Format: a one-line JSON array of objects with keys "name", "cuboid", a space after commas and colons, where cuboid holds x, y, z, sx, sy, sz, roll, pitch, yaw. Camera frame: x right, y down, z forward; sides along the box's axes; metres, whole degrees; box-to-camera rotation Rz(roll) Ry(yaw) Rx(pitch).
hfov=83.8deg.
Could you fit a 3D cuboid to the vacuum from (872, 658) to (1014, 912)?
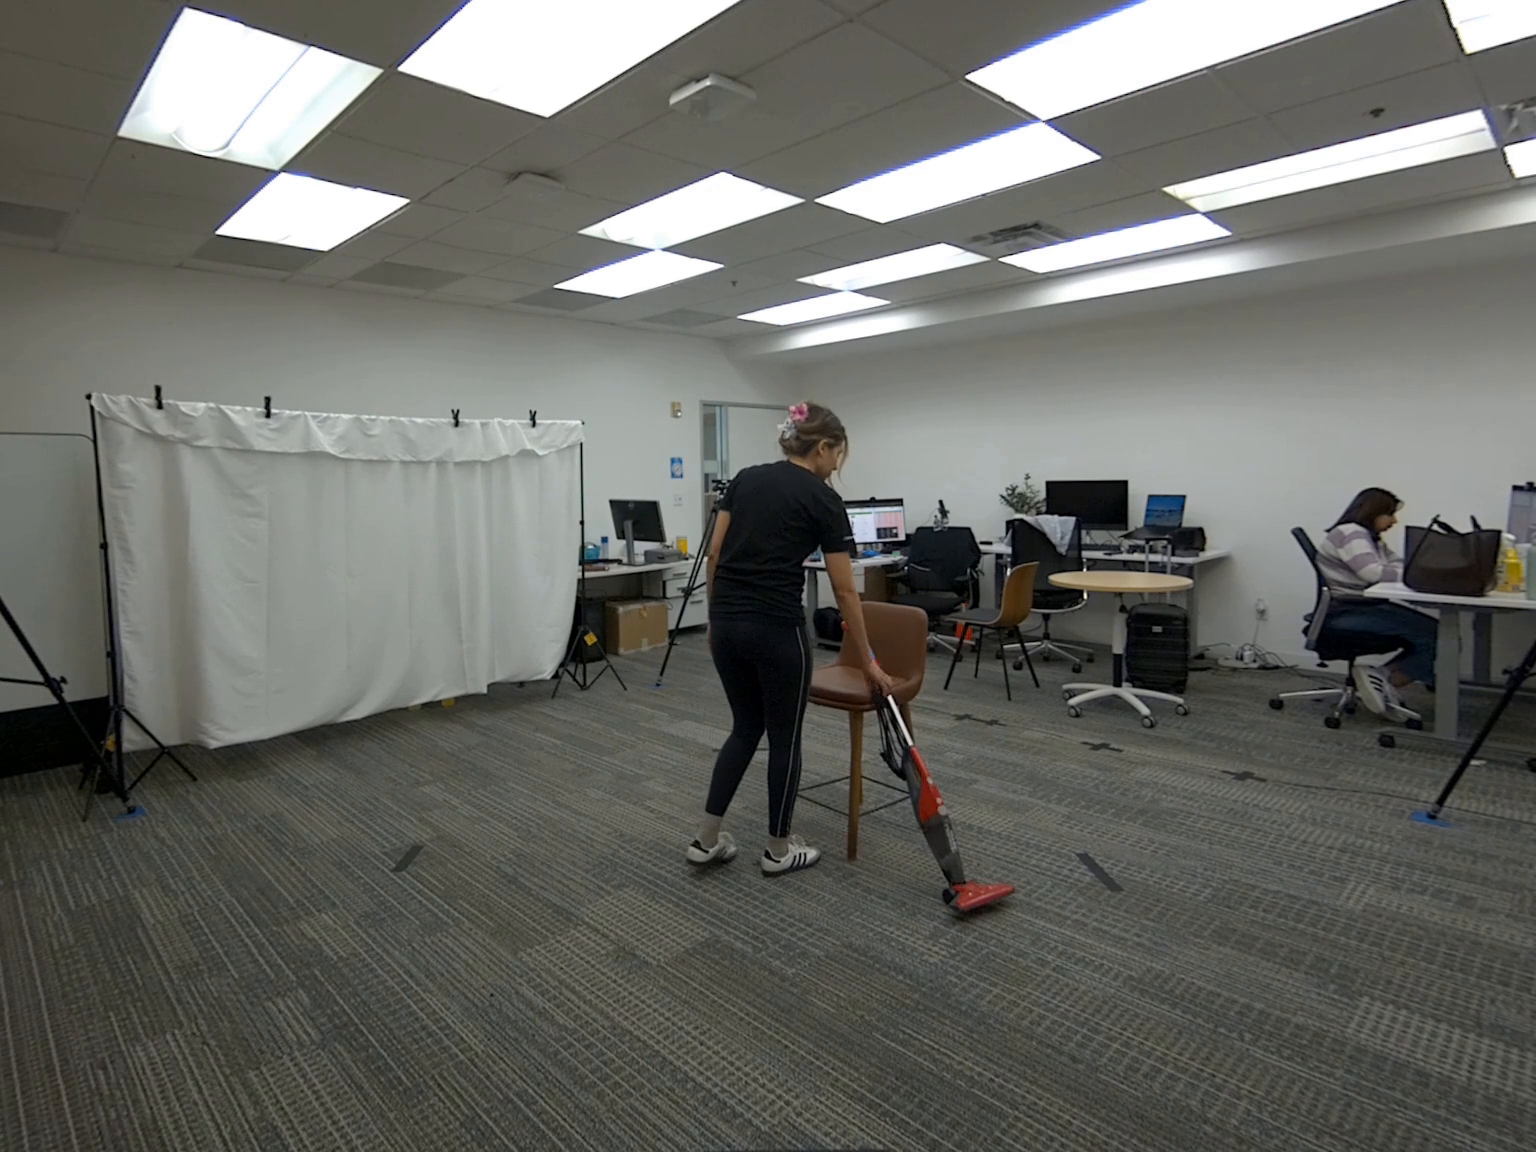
[{"name": "vacuum", "cuboid": [0.493, 0.628, 3.022, 0.246, 1.083, 0.143, 0, -37, -35]}]
